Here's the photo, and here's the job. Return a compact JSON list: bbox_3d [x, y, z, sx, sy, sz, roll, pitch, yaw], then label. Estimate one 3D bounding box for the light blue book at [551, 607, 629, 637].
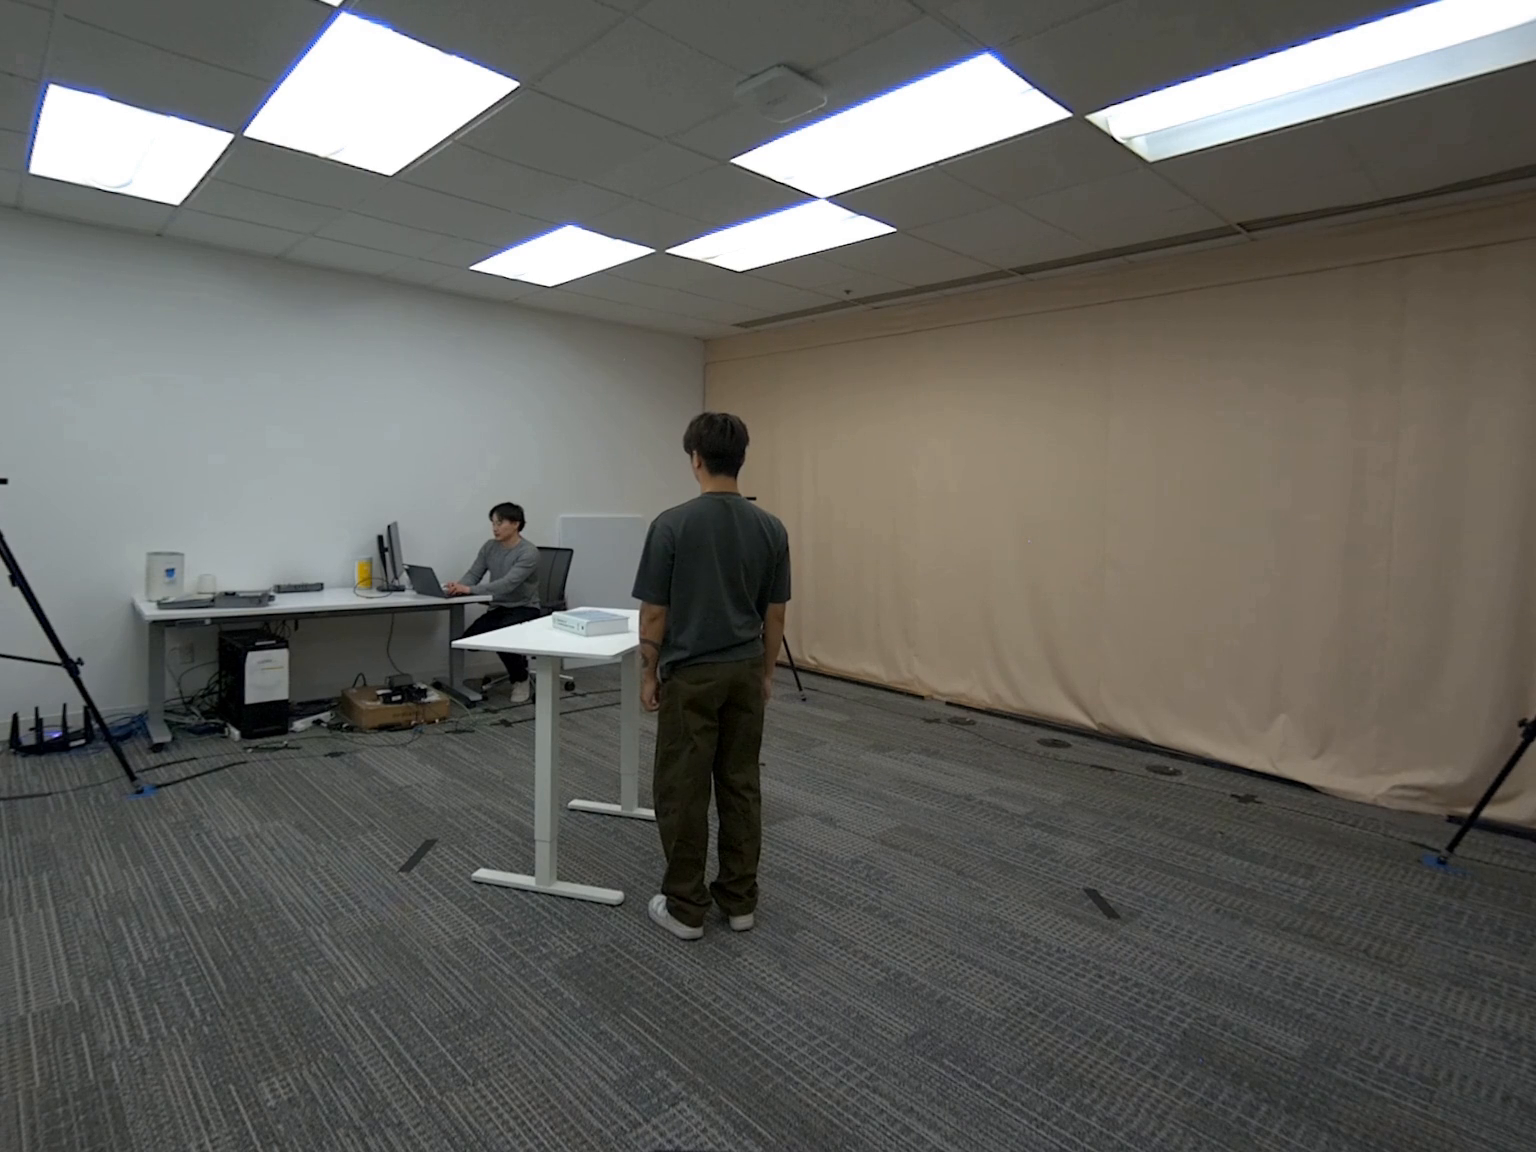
[{"bbox_3d":[-0.689,0.177,3.198,0.187,0.059,0.268,-4,8,-41],"label":"light blue book"}]
